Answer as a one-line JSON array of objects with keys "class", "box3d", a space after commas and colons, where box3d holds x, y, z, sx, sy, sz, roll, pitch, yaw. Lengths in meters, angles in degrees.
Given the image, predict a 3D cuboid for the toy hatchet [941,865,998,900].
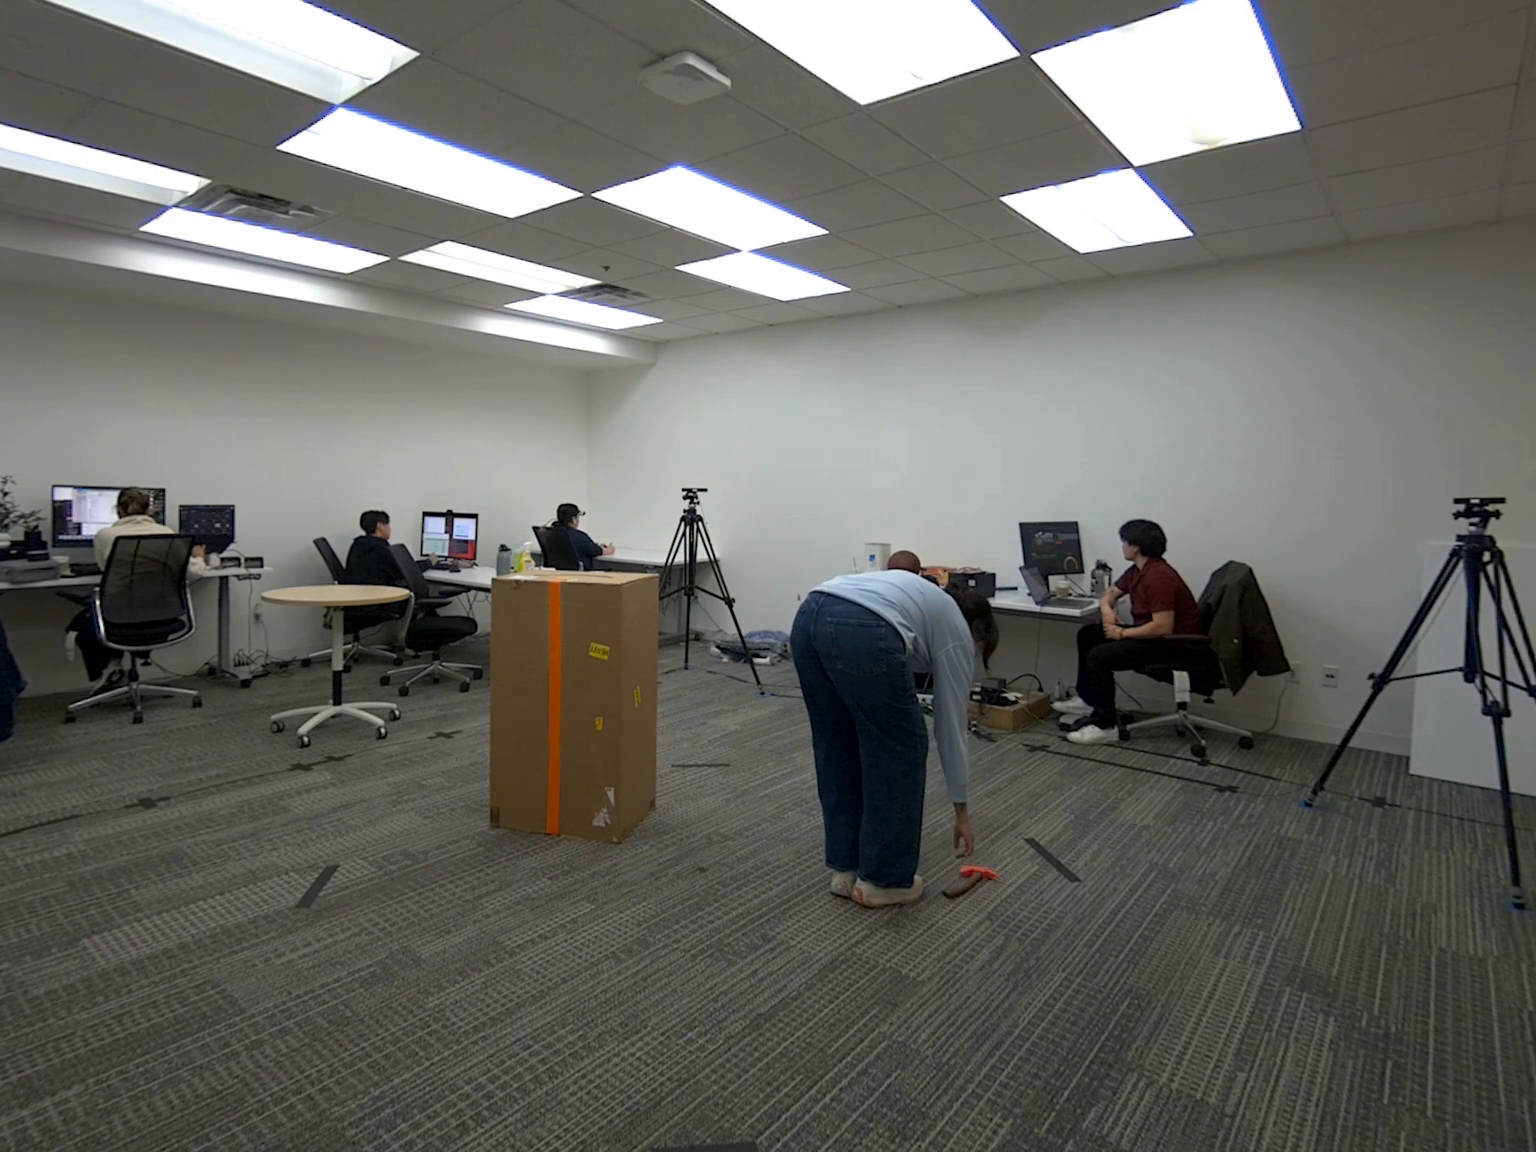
[{"class": "toy hatchet", "box3d": [0.691, 1.091, 3.048, 0.262, 0.029, 0.135, -5, 9, -35]}]
